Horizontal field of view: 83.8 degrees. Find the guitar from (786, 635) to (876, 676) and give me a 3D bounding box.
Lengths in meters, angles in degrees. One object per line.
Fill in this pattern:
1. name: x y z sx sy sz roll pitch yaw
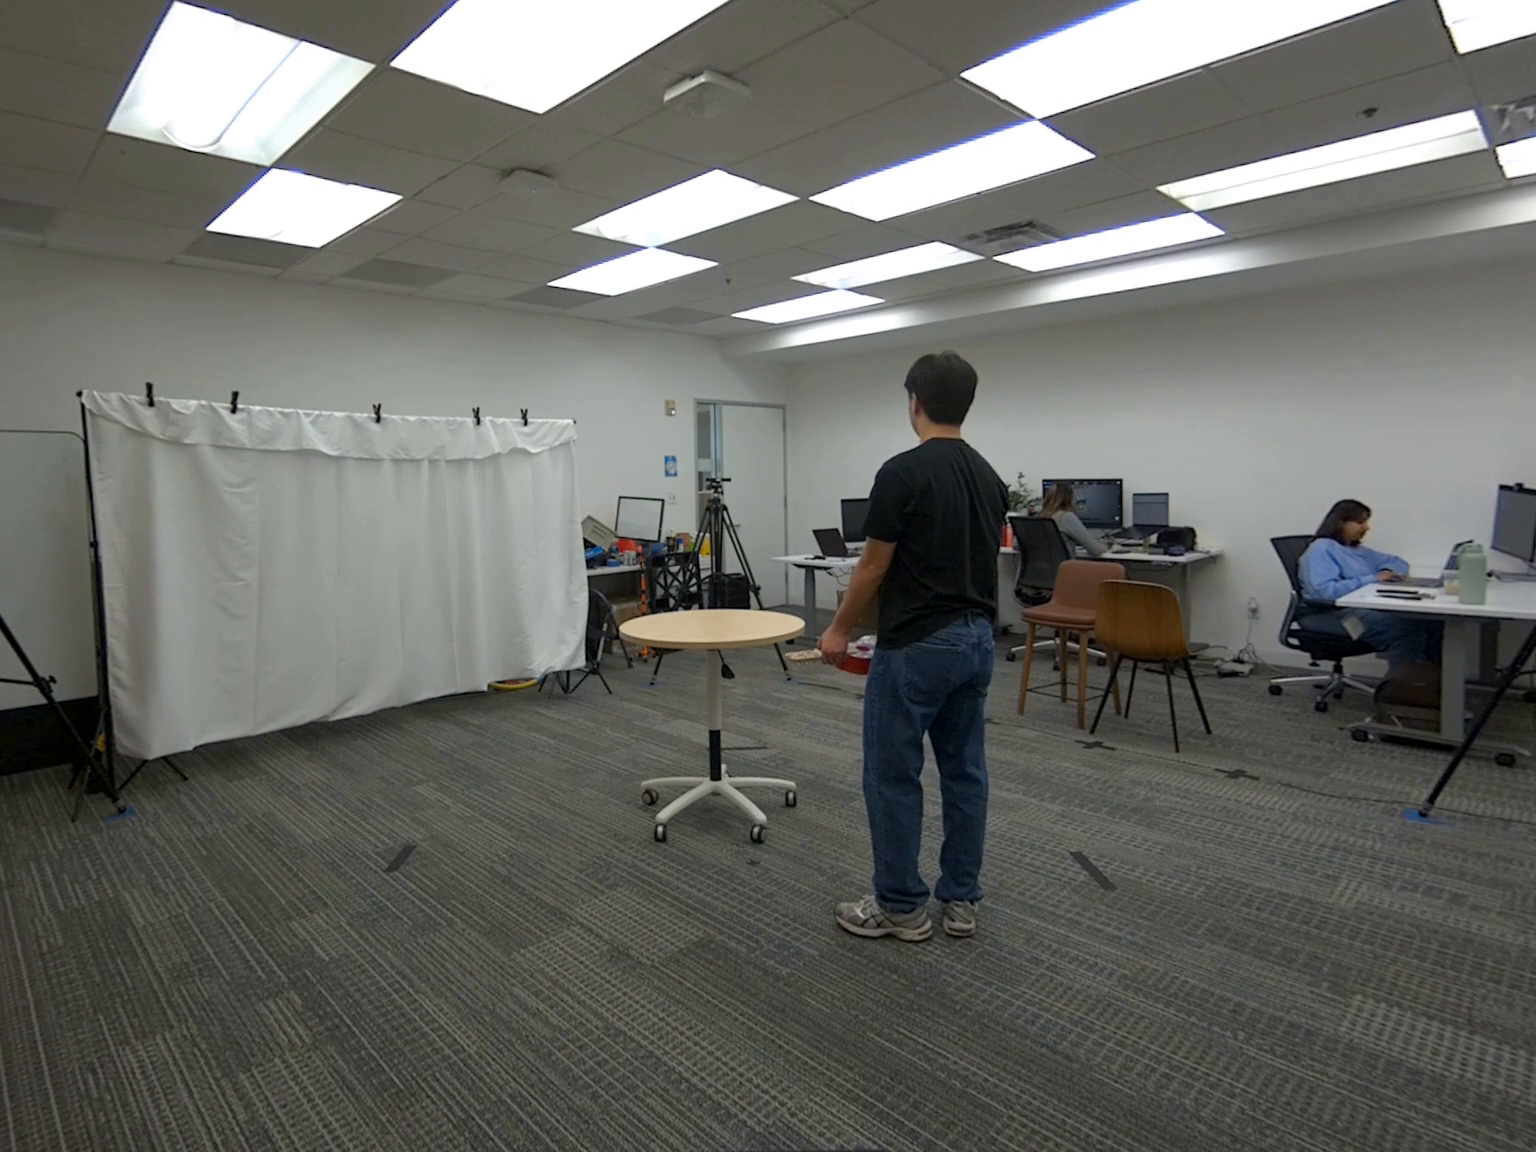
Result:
1. guitar: 0.250 0.262 2.818 0.487 0.070 0.199 1 17 -23
